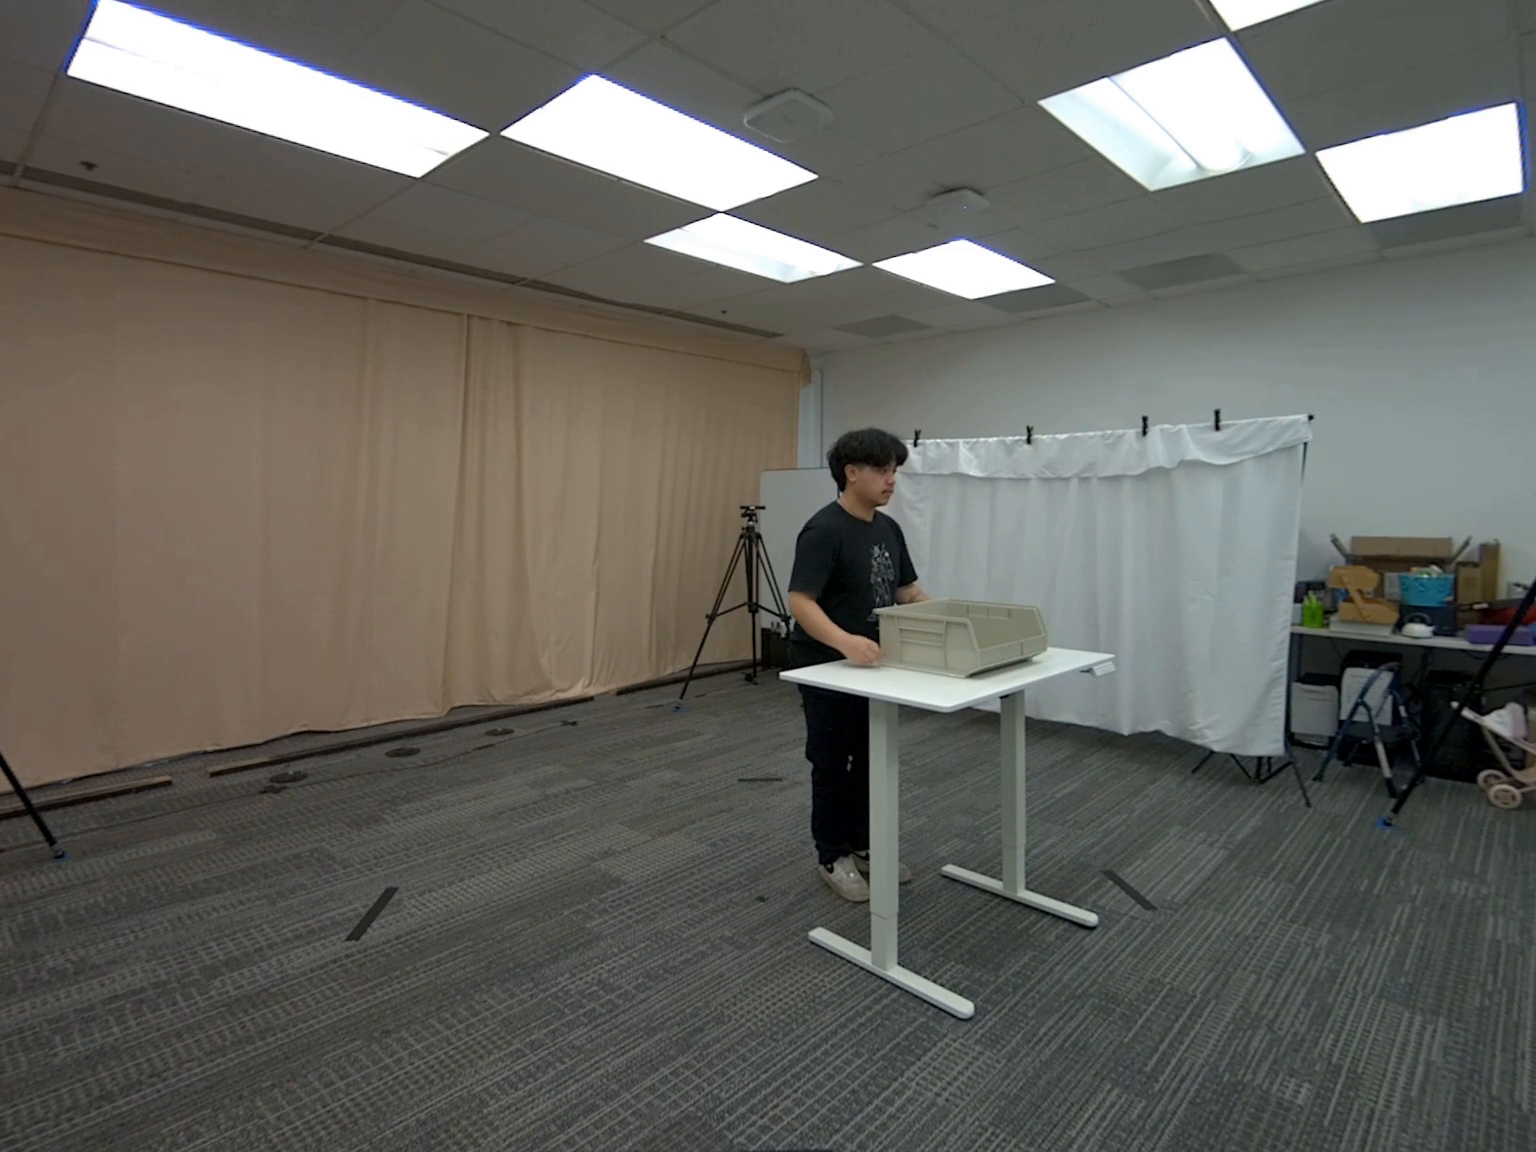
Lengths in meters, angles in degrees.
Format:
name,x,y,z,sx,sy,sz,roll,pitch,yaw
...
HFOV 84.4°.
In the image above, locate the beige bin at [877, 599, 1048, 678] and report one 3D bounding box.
name,x,y,z,sx,sy,sz,roll,pitch,yaw
beige bin,0.630,0.191,2.697,0.409,0.188,0.390,-6,5,-44
